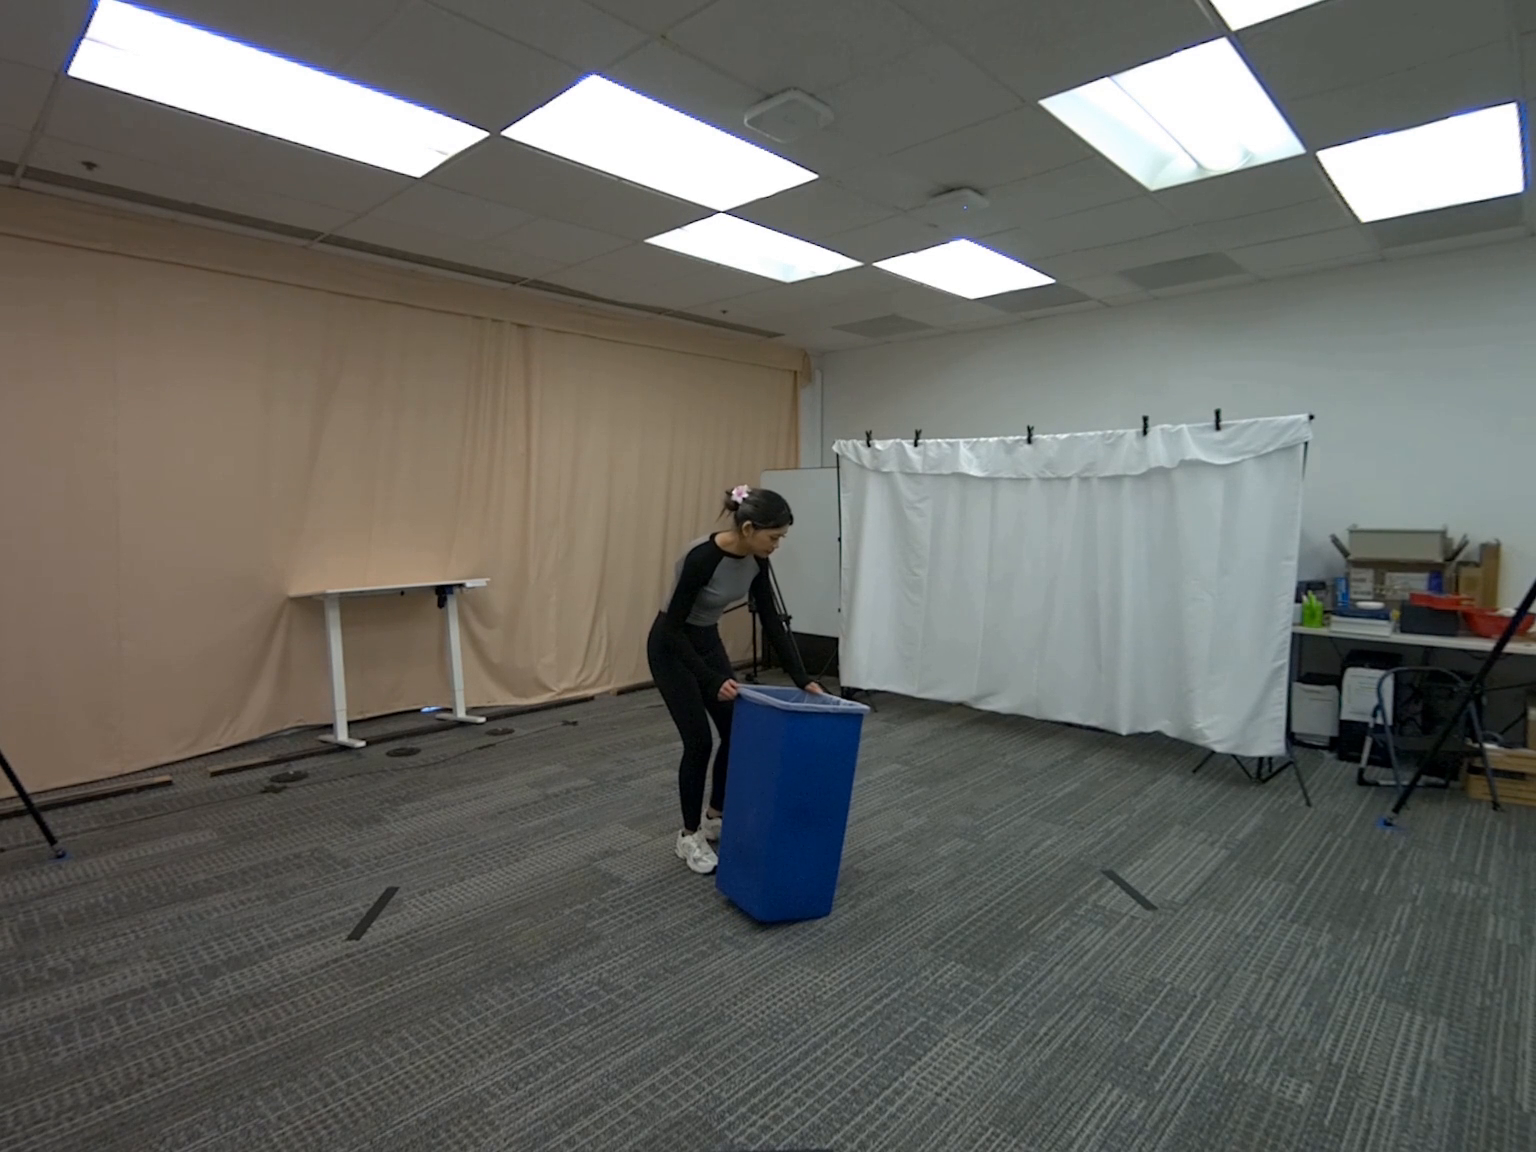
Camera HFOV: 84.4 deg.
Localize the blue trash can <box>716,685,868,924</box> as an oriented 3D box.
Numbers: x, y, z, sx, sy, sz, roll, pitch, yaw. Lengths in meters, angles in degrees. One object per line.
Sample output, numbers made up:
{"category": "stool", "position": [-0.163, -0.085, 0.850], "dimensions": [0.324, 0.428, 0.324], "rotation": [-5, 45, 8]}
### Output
{"category": "blue trash can", "position": [0.062, 0.770, 2.935], "dimensions": [0.366, 0.714, 0.385], "rotation": [9, -2, -33]}
